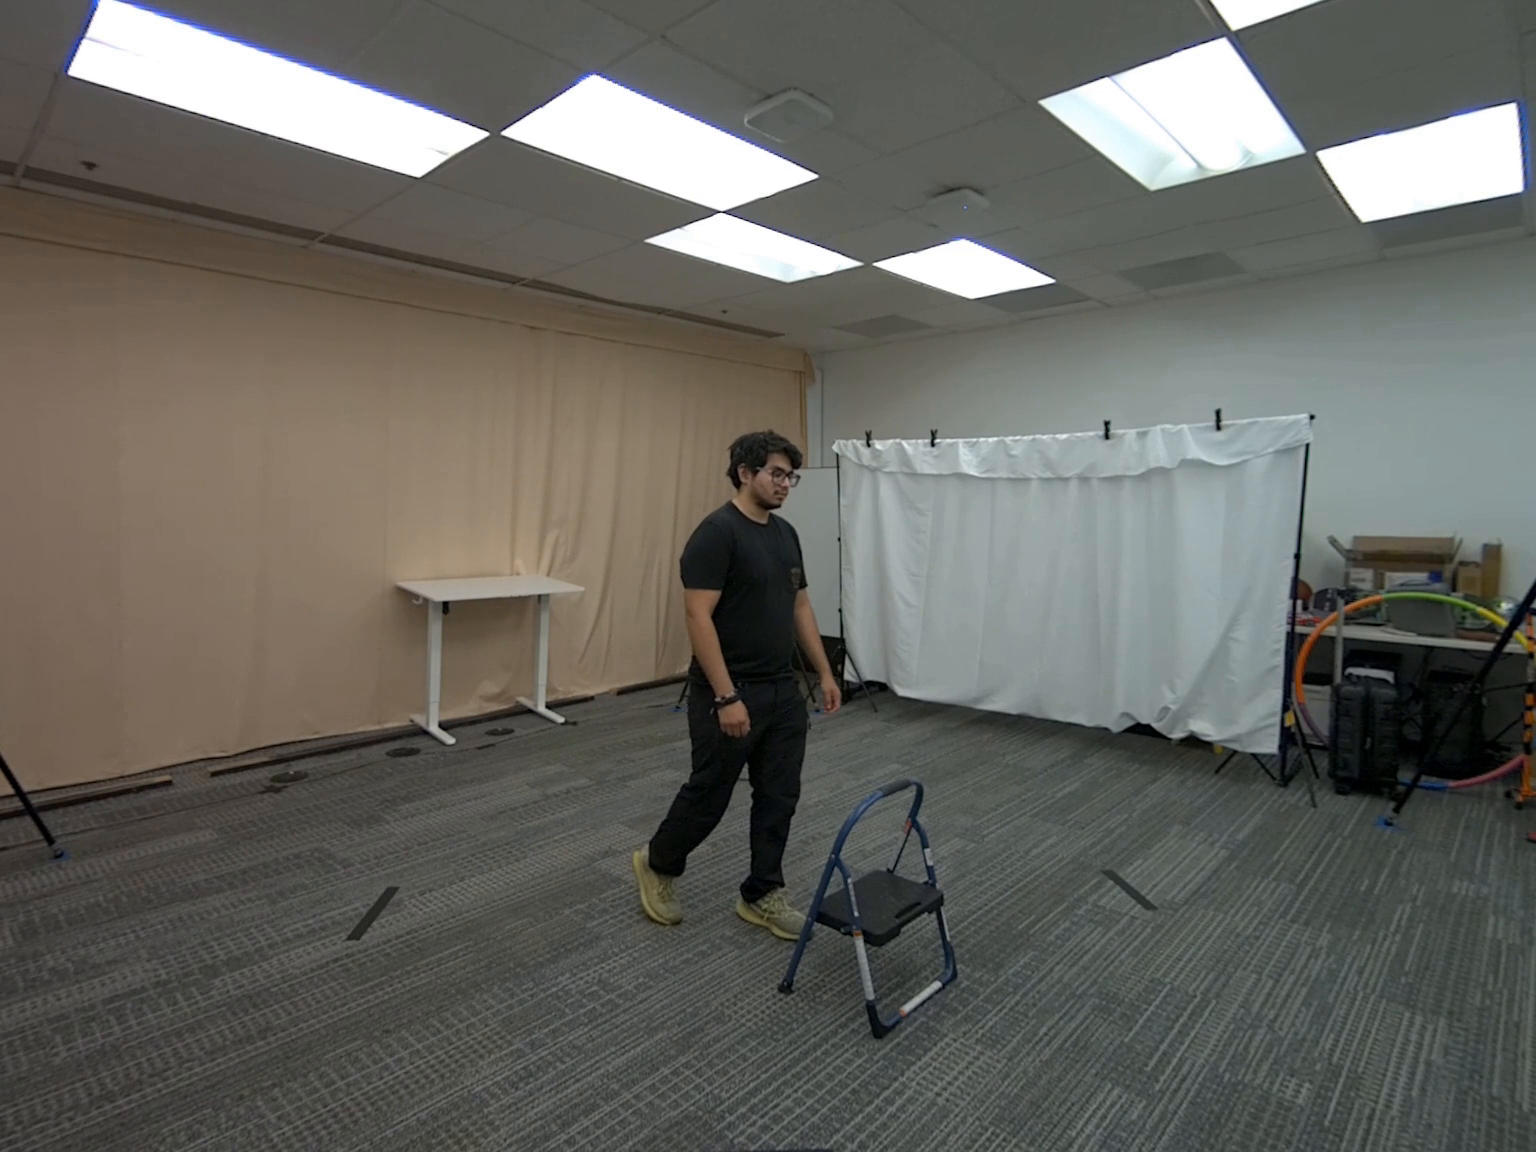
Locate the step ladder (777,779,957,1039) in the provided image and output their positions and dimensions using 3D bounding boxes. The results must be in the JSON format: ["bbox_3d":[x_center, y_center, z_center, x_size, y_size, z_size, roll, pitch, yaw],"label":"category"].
[{"bbox_3d":[0.301,0.887,2.436,0.361,0.605,0.417,3,5,42],"label":"step ladder"}]
